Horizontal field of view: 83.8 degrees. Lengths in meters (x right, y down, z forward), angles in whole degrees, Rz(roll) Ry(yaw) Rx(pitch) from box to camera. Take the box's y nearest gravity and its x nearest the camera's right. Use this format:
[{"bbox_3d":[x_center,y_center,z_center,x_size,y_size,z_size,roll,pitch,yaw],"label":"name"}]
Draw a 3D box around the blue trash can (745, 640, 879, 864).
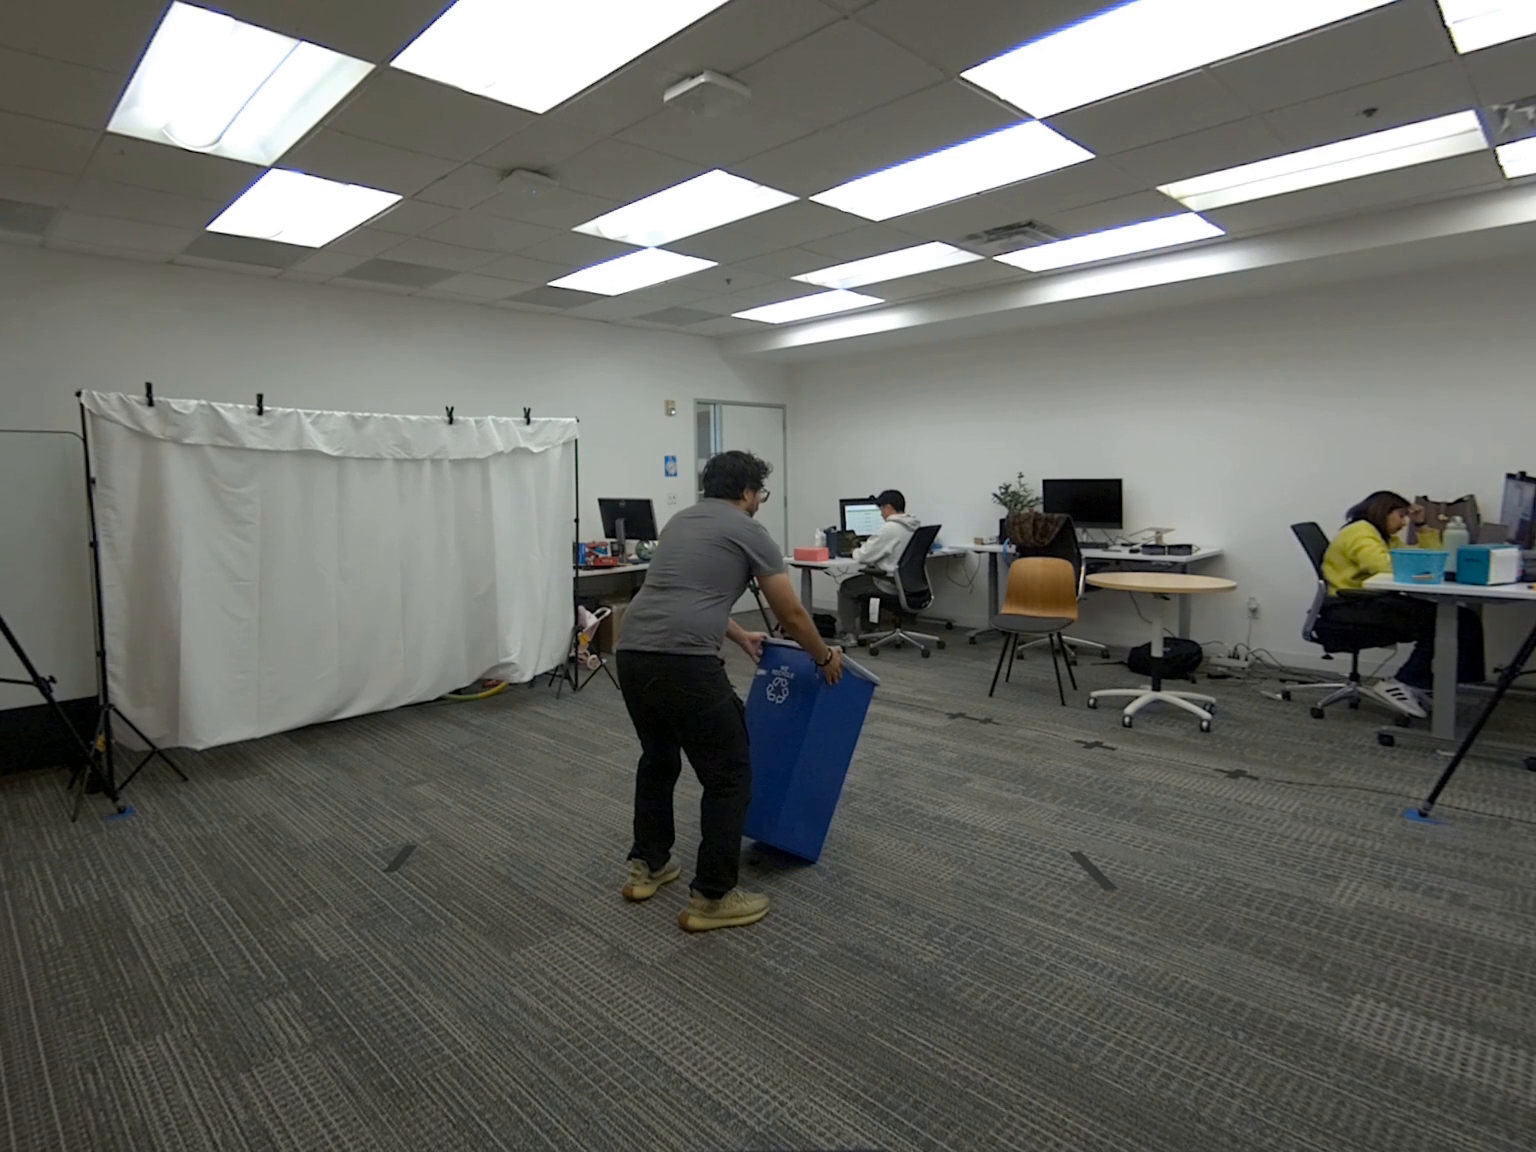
[{"bbox_3d":[0.107,0.647,3.209,0.385,0.720,0.363,3,-23,40],"label":"blue trash can"}]
